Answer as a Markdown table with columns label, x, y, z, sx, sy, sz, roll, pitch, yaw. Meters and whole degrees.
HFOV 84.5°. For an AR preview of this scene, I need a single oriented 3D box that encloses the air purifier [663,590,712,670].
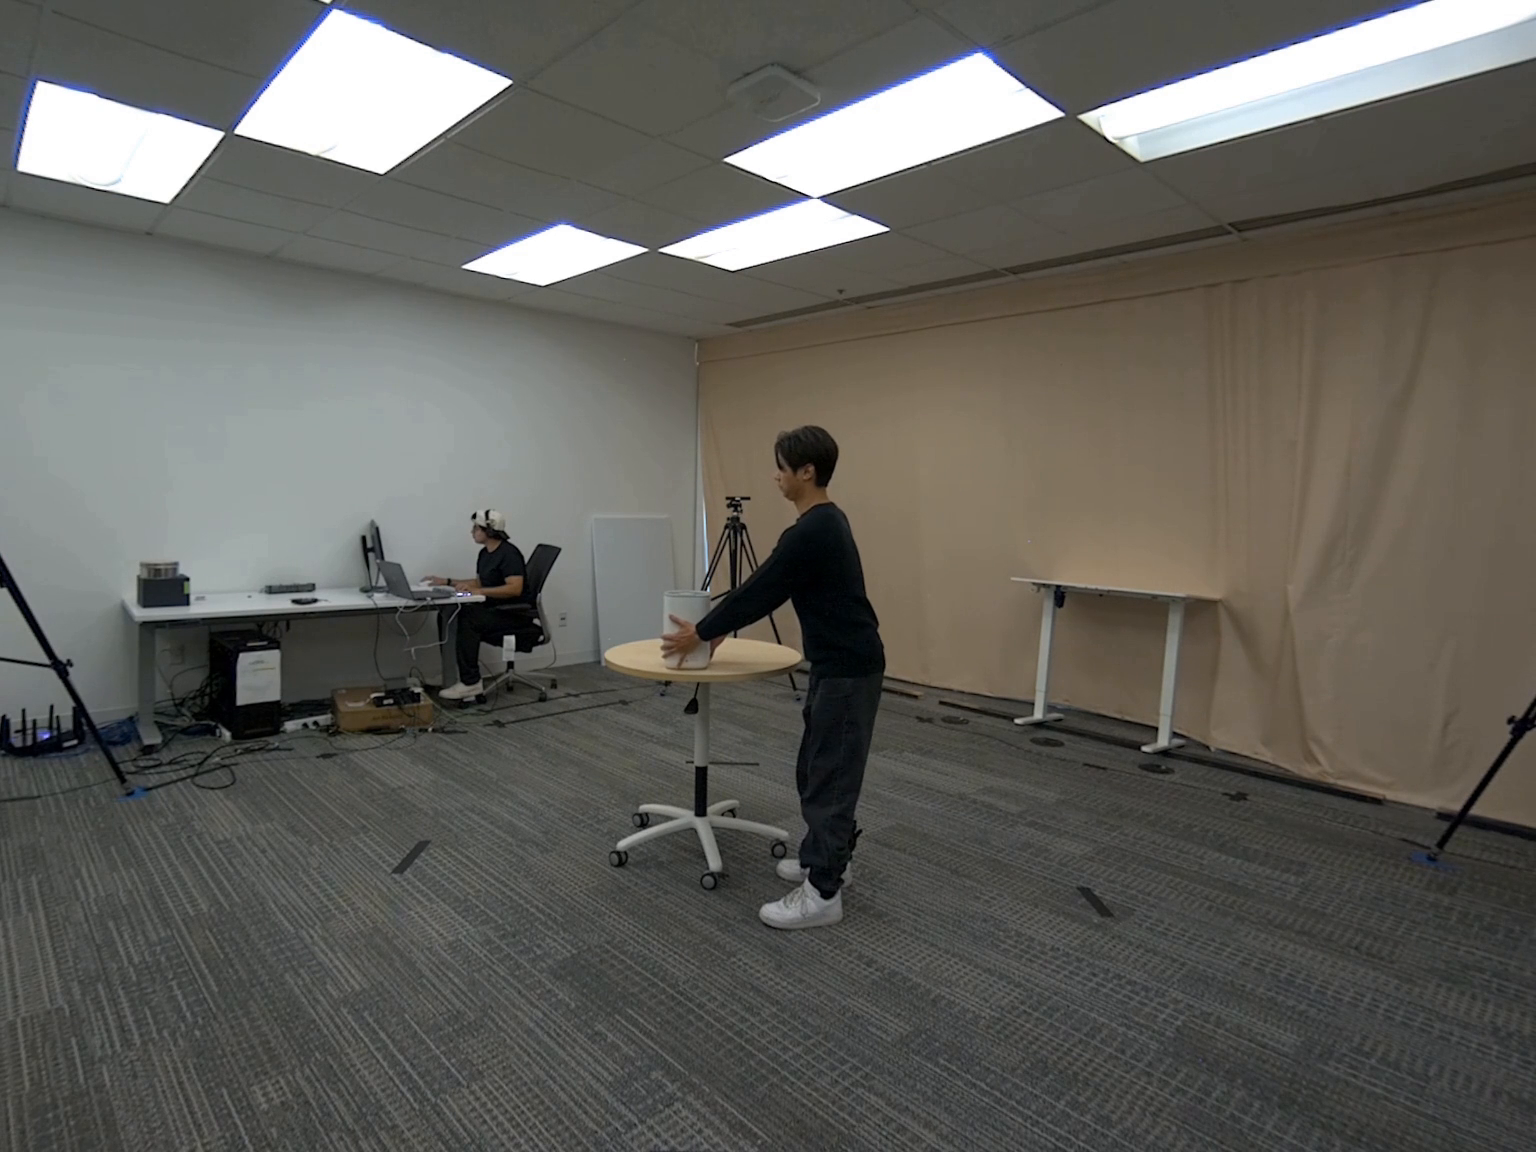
| label | x | y | z | sx | sy | sz | roll | pitch | yaw |
| --- | --- | --- | --- | --- | --- | --- | --- | --- | --- |
| air purifier | -0.293 | 0.192 | 3.043 | 0.171 | 0.265 | 0.172 | 2 | 3 | 1 |
